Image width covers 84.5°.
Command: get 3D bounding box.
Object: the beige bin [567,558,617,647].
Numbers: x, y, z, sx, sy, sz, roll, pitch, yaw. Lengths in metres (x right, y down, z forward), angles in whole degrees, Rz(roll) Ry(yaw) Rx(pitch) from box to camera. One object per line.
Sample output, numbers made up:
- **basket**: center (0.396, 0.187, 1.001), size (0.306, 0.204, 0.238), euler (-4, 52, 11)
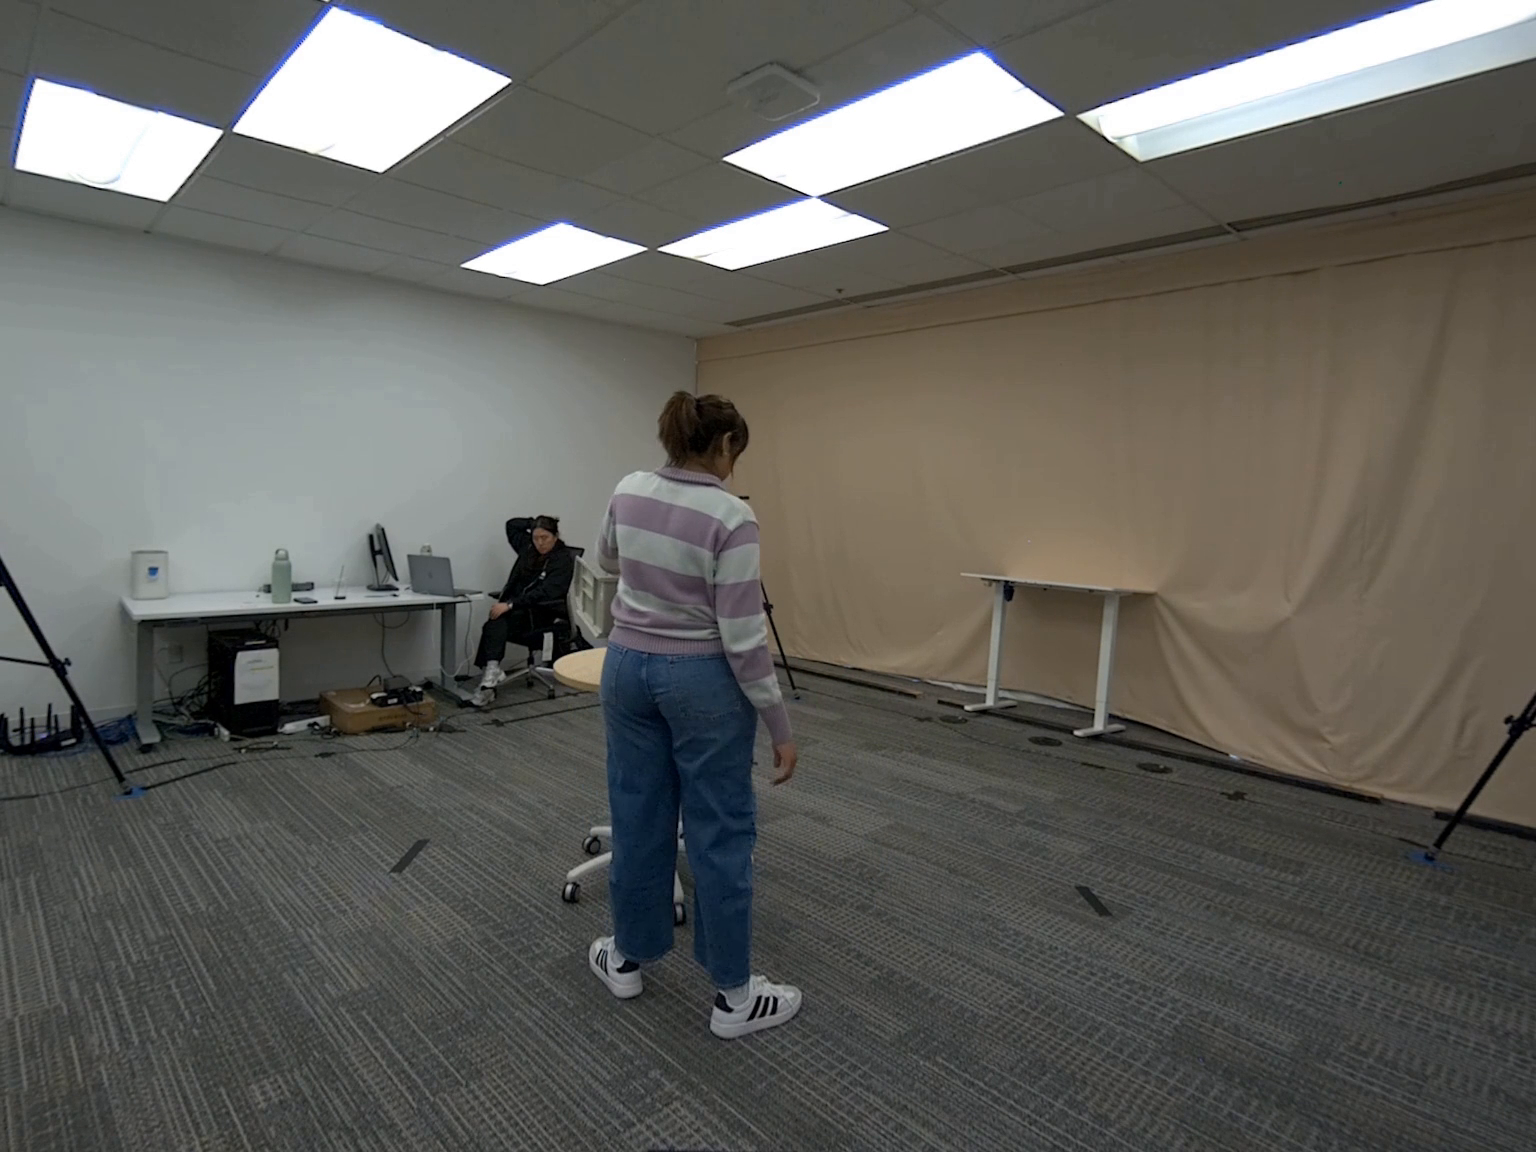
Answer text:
- **beige bin**: center (-0.363, 0.057, 2.592), size (0.415, 0.187, 0.386), euler (1, 12, -21)
